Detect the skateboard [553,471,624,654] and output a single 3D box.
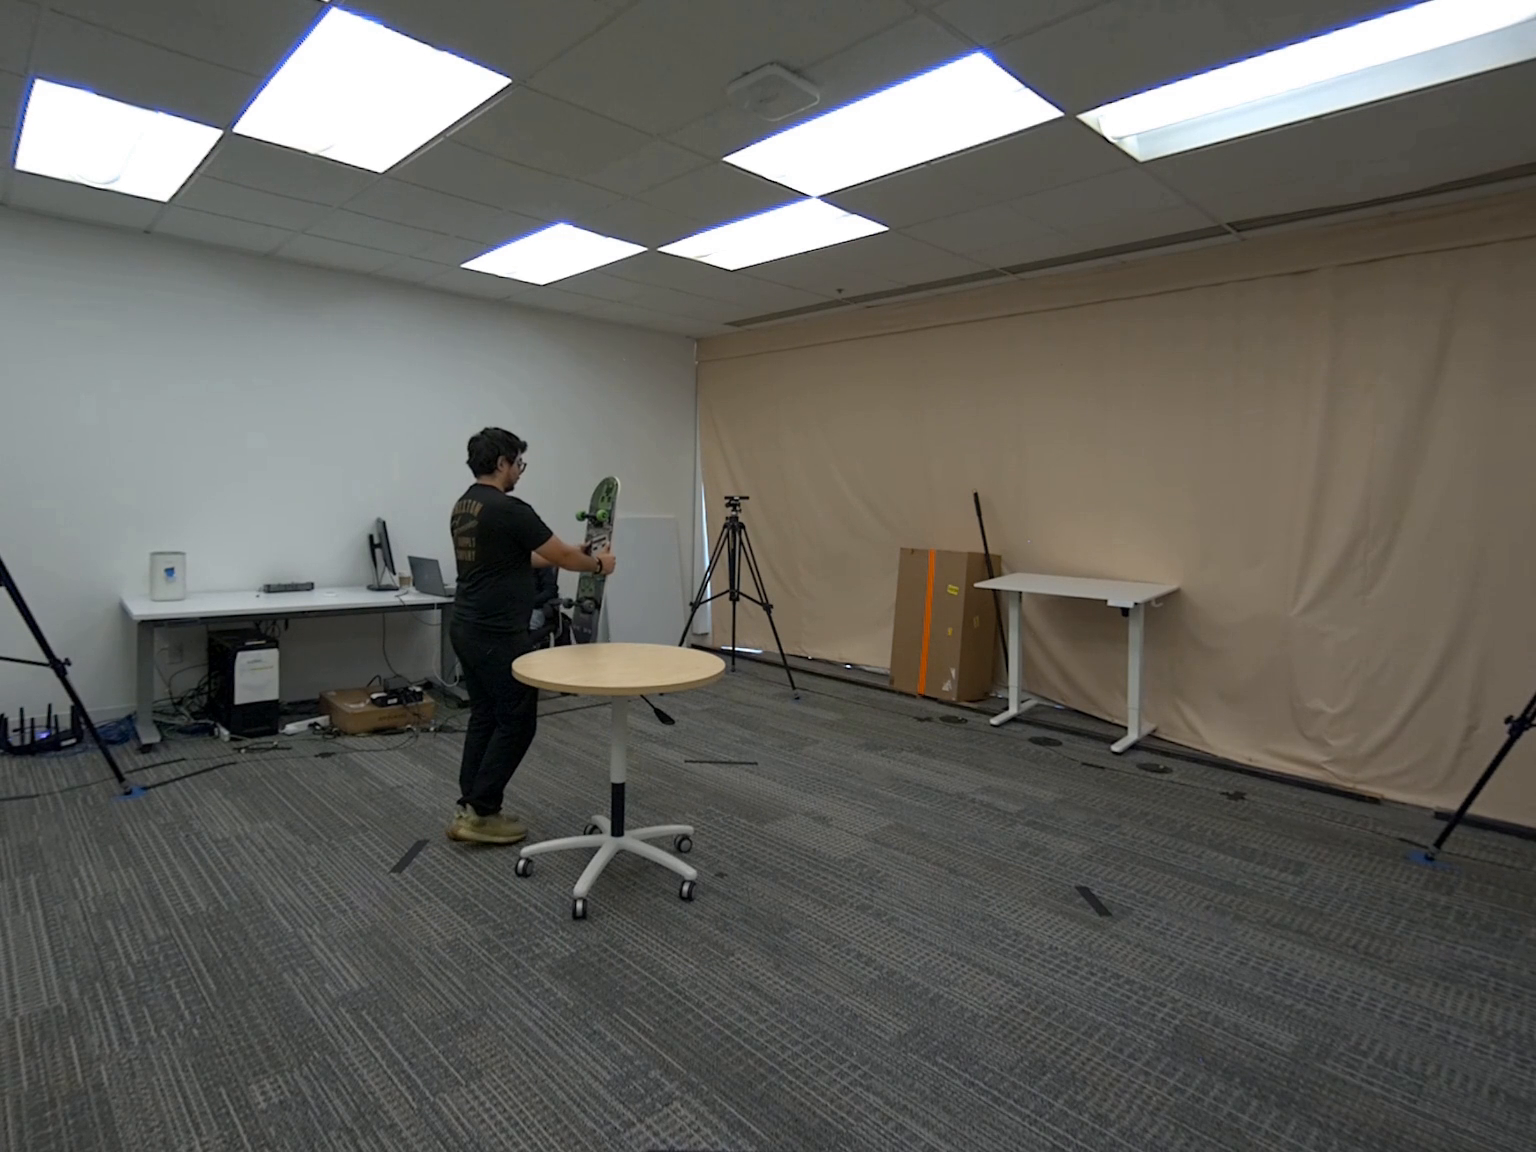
[{"bbox_3d":[-0.796,-0.065,3.743,0.198,0.789,0.107,0,-9,42],"label":"skateboard"}]
